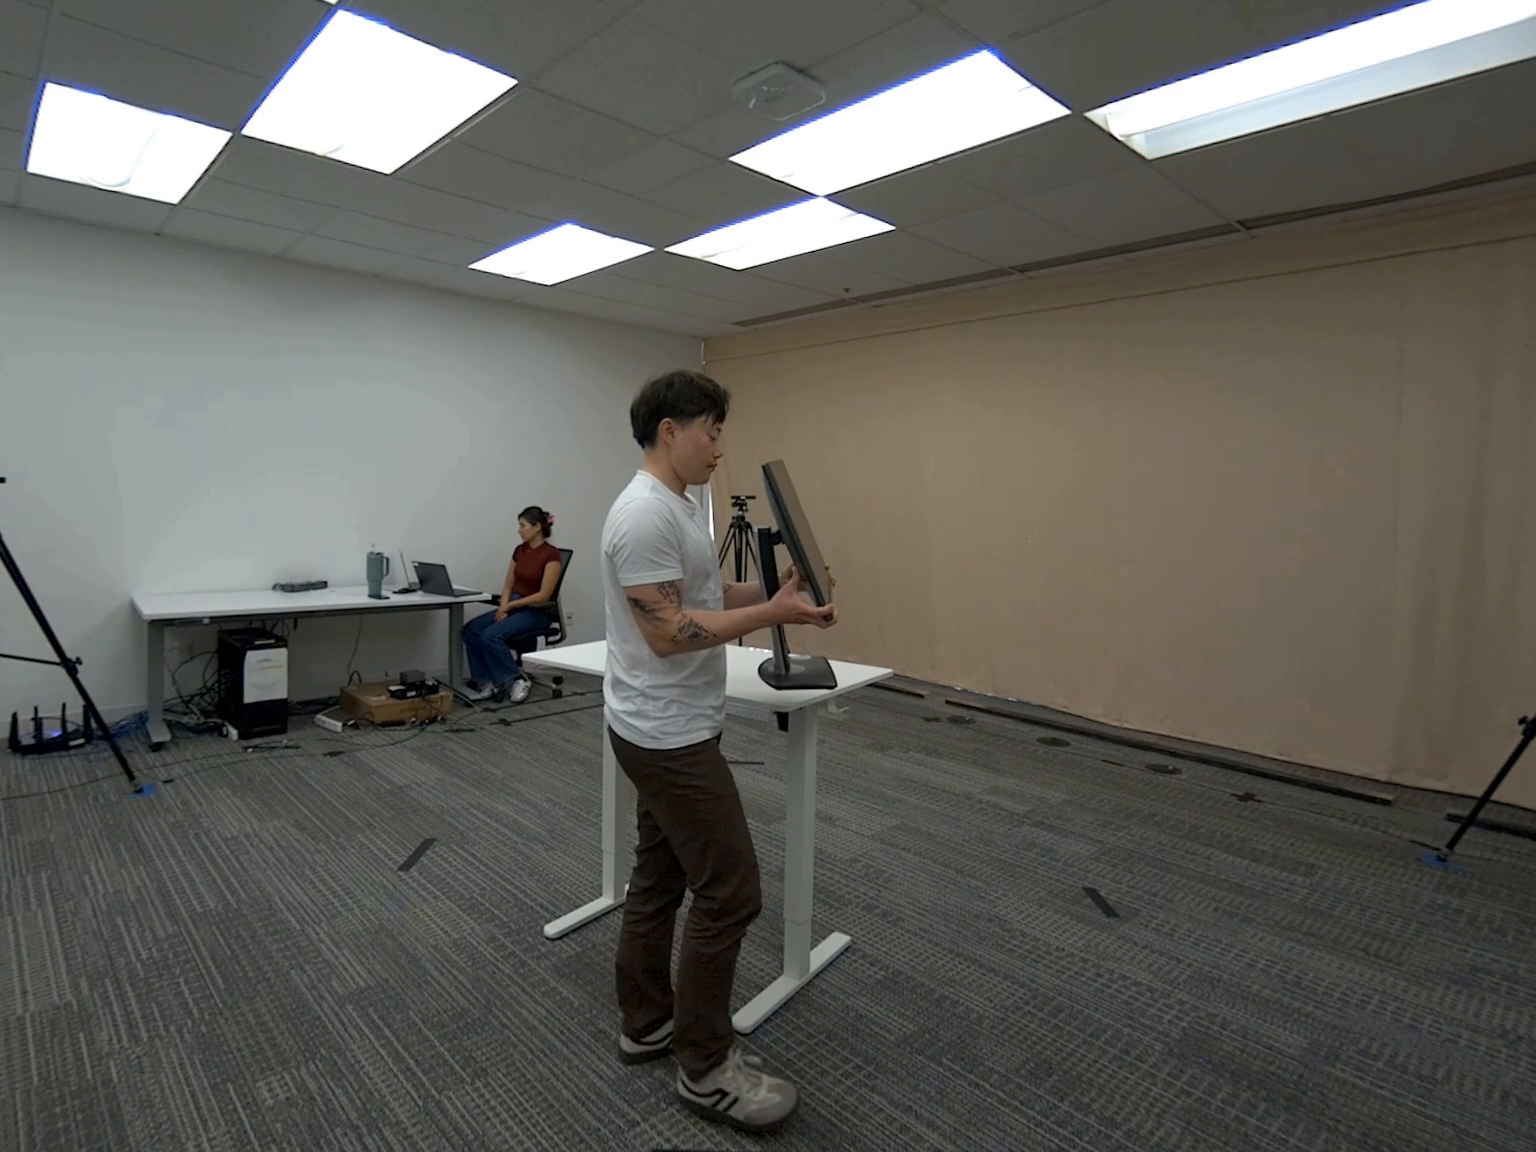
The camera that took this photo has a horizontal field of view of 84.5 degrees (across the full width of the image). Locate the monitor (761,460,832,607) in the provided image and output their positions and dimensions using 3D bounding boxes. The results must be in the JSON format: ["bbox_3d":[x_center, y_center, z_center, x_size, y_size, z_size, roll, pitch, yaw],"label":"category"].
[{"bbox_3d":[0.049,-0.018,1.987,0.187,0.520,0.540,-6,6,2],"label":"monitor"}]
